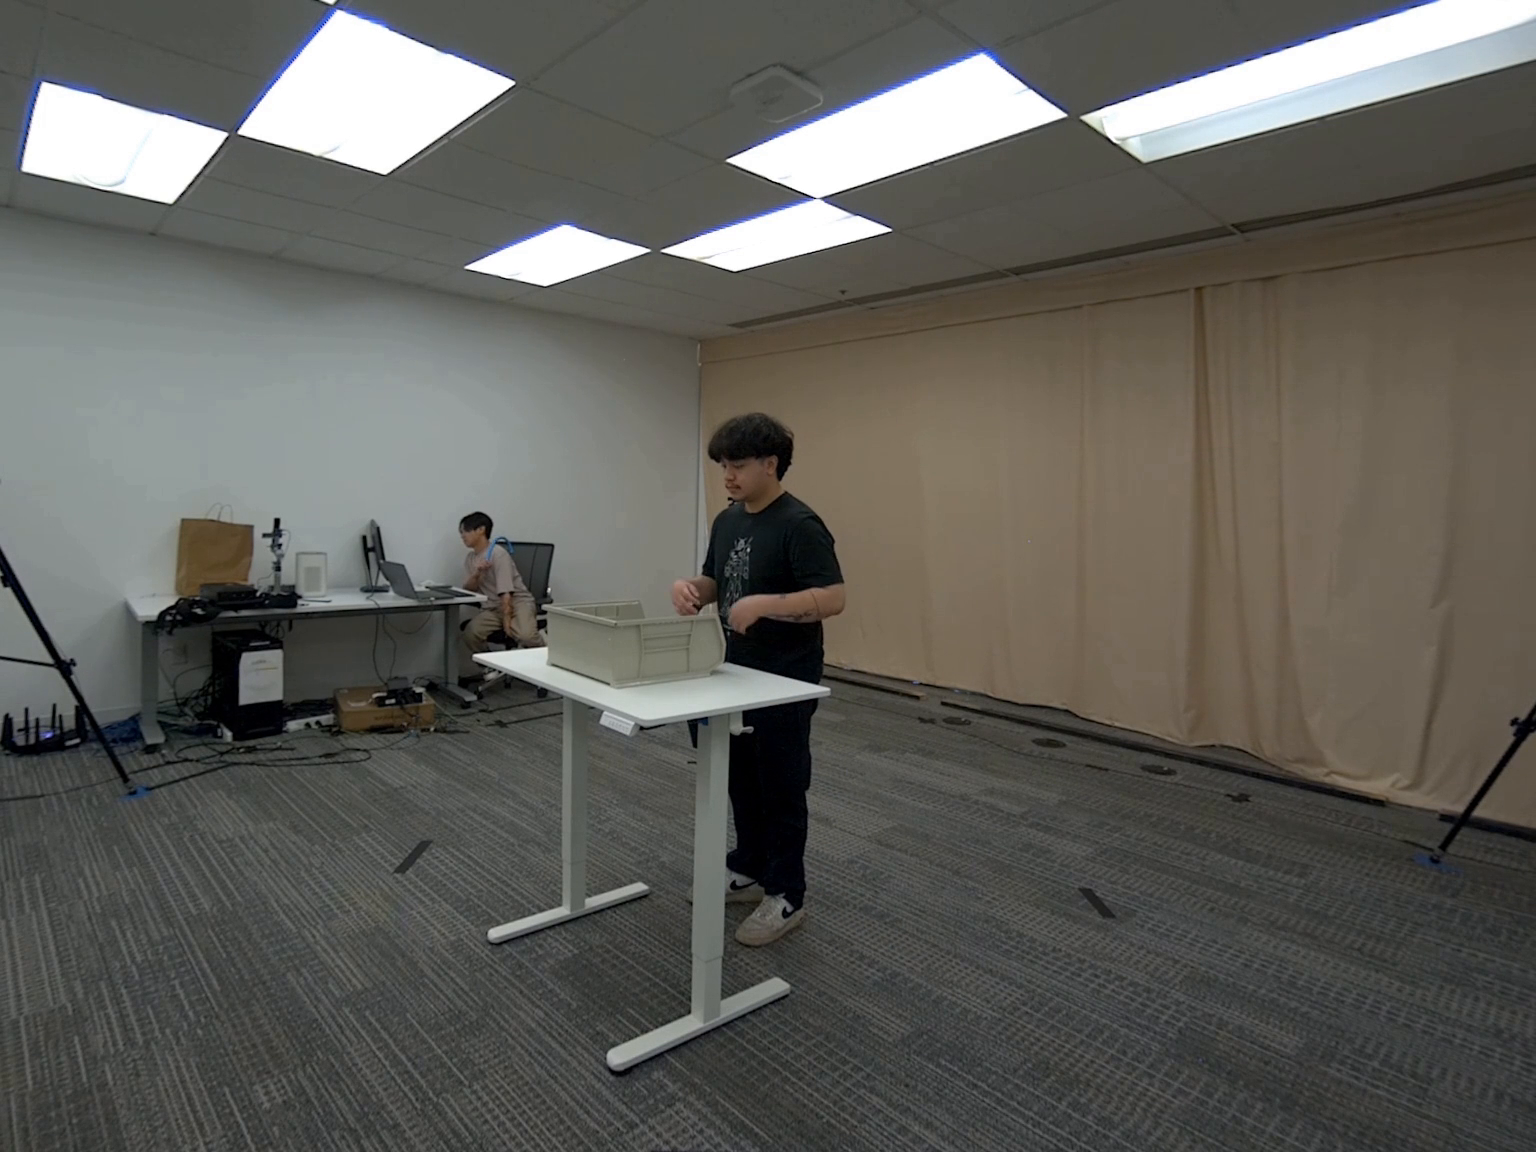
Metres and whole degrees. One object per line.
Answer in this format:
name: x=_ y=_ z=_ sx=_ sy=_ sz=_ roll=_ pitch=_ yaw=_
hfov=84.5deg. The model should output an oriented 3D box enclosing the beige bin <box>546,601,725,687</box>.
beige bin: x=-0.400 y=0.188 z=2.479 sx=0.369 sy=0.188 sz=0.433 roll=-3 pitch=6 yaw=-38
